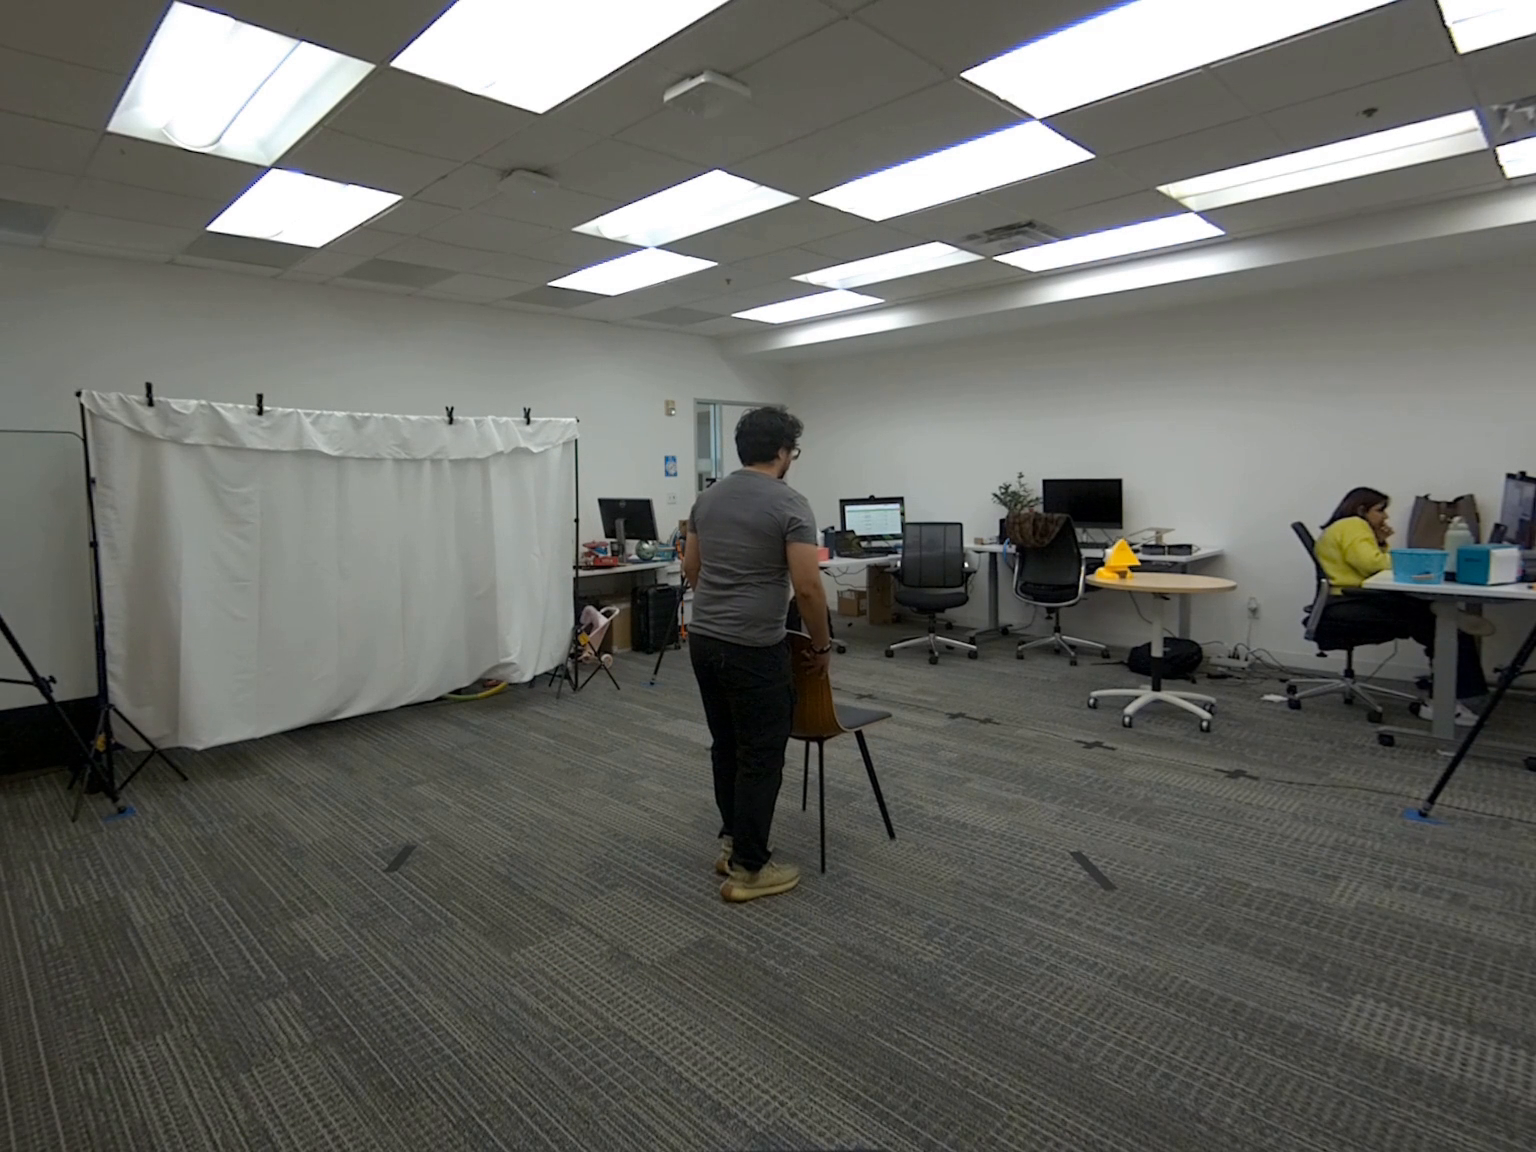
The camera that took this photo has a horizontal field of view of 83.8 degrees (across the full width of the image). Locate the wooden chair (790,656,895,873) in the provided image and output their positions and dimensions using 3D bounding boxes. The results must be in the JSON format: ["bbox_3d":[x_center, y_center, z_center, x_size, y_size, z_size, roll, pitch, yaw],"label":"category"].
[{"bbox_3d":[0.178,0.581,3.275,0.492,0.872,0.510,2,8,42],"label":"wooden chair"}]
